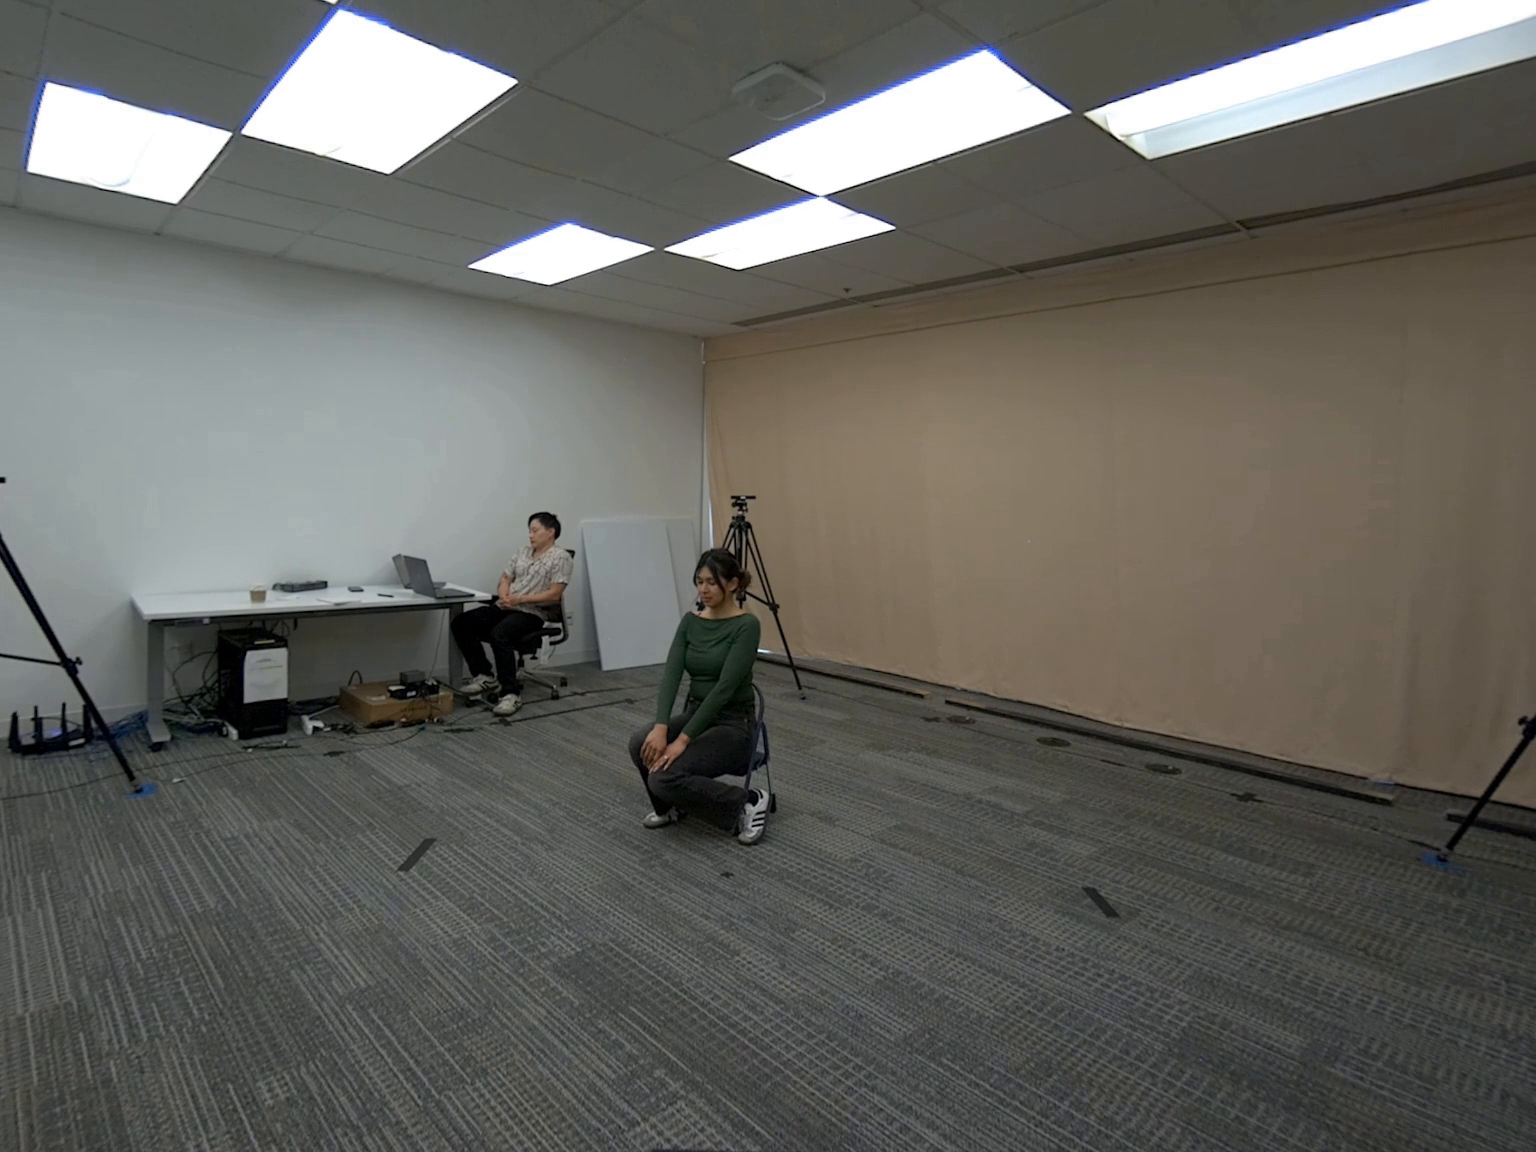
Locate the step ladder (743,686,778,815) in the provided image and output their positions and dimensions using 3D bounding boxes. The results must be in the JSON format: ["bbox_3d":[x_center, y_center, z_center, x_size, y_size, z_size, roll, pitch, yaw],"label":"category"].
[{"bbox_3d":[-0.218,0.754,3.703,0.440,0.605,0.342,4,3,30],"label":"step ladder"}]
